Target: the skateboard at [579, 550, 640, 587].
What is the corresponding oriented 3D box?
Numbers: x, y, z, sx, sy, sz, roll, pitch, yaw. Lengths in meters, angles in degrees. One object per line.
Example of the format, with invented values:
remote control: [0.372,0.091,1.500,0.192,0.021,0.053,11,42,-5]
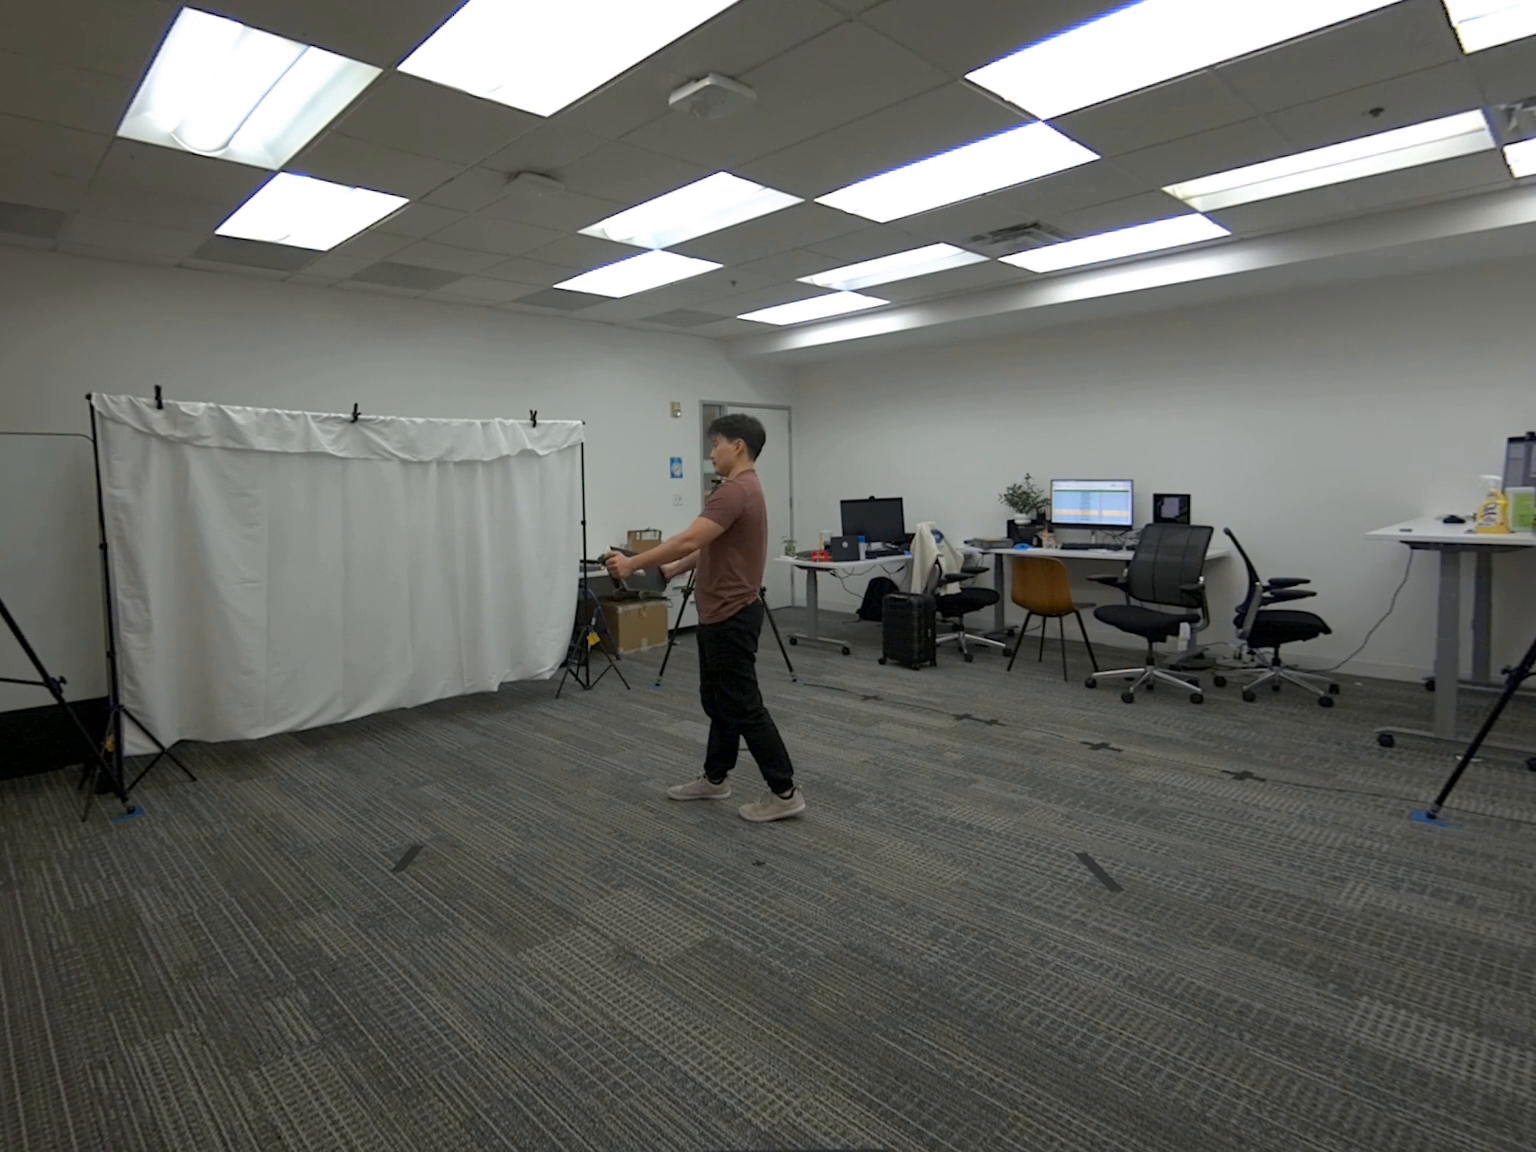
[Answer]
skateboard: [-0.581,-0.001,3.600,0.110,0.195,0.777,-32,-5,3]
